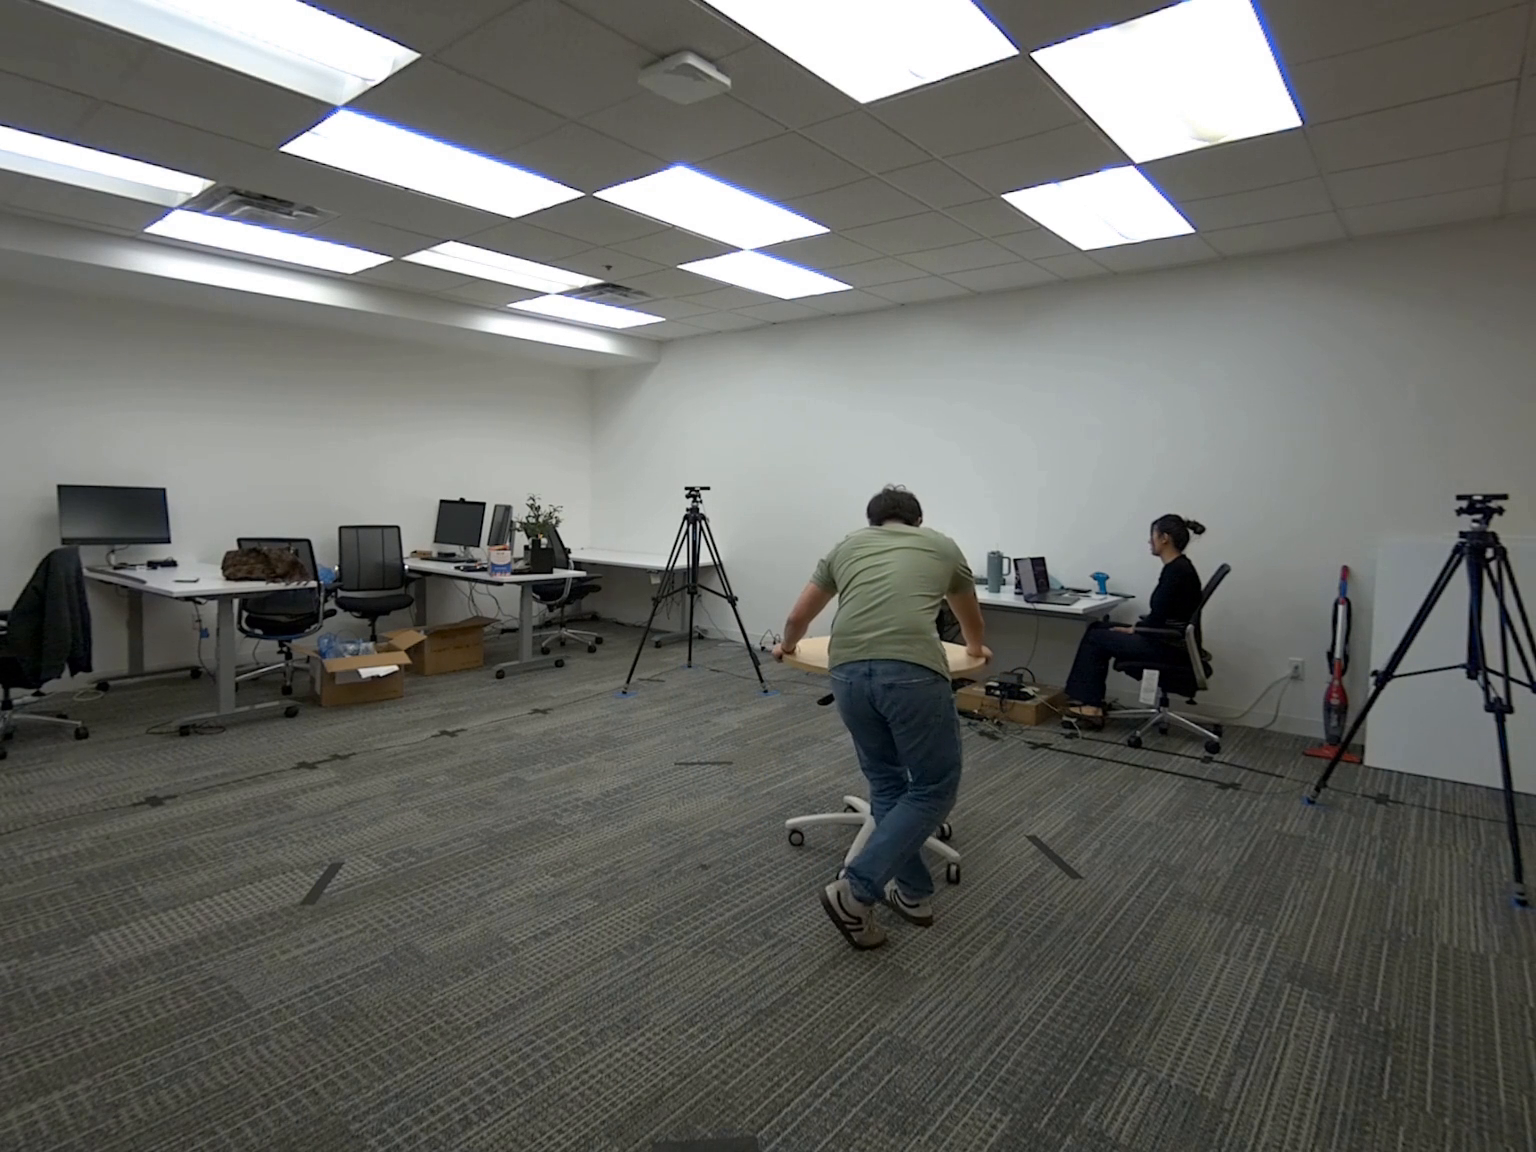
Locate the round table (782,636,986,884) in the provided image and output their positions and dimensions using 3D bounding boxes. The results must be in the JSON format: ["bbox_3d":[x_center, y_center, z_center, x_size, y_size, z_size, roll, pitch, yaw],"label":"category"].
[{"bbox_3d":[0.420,0.673,3.266,0.763,0.791,0.768,1,4,-2],"label":"round table"}]
